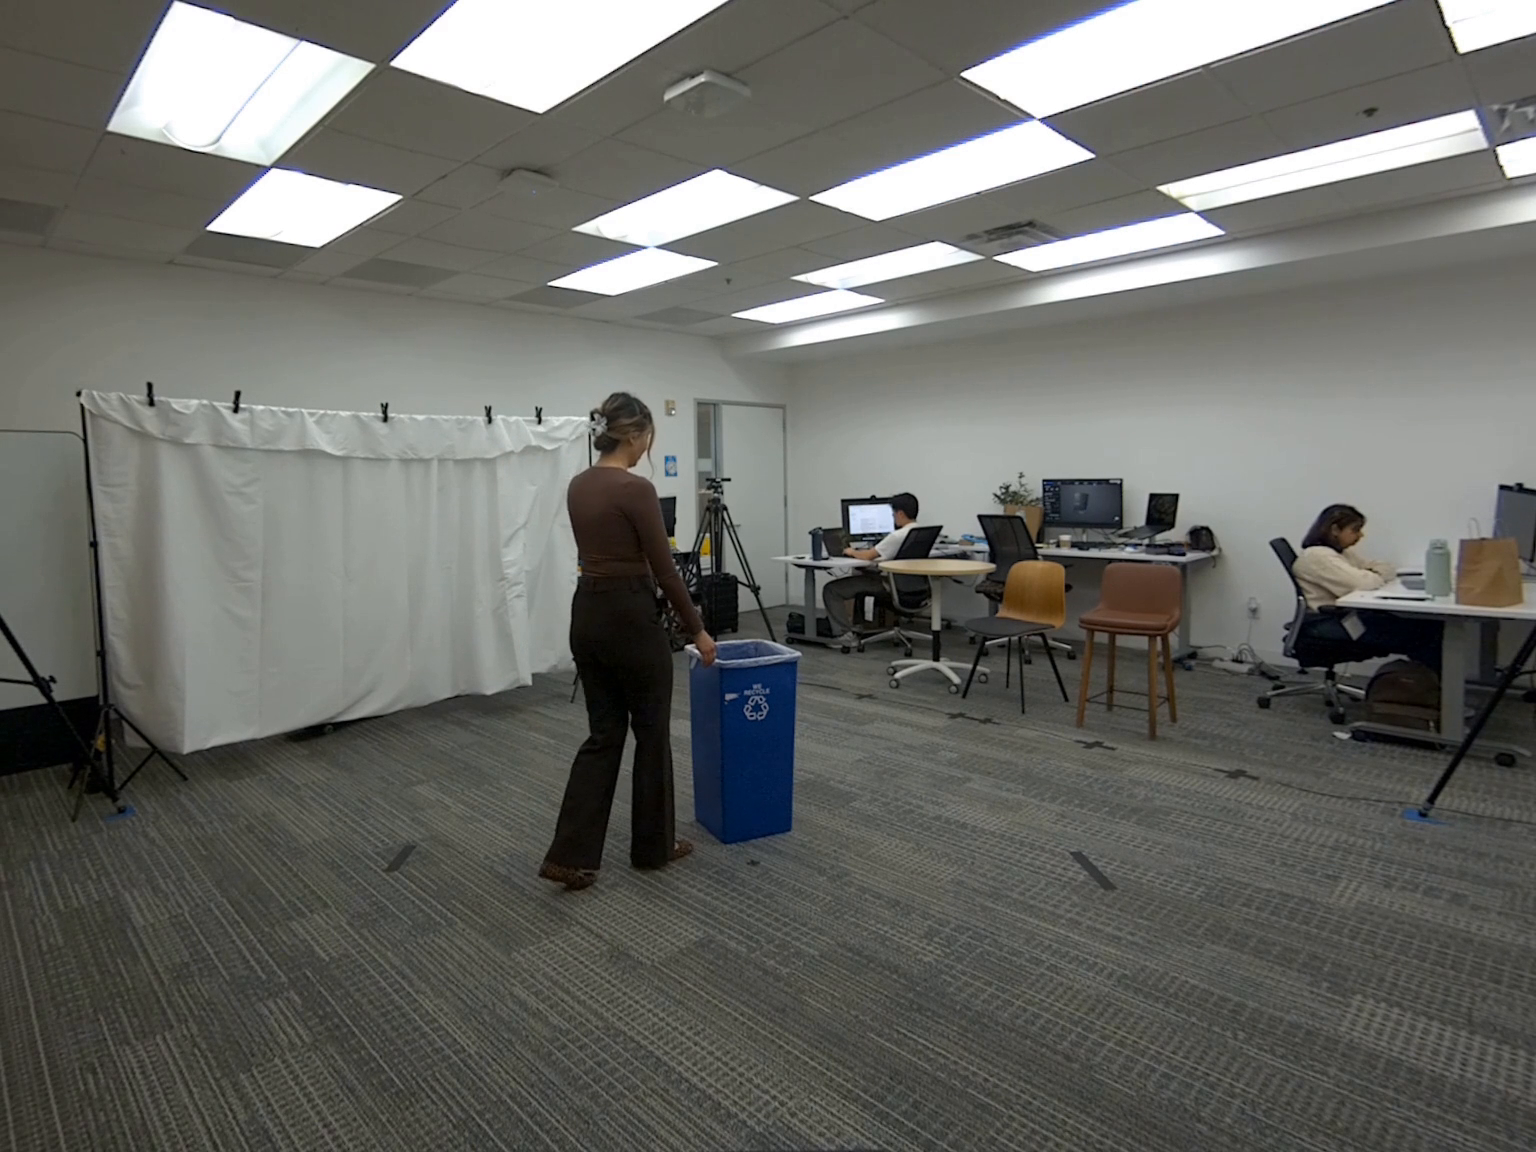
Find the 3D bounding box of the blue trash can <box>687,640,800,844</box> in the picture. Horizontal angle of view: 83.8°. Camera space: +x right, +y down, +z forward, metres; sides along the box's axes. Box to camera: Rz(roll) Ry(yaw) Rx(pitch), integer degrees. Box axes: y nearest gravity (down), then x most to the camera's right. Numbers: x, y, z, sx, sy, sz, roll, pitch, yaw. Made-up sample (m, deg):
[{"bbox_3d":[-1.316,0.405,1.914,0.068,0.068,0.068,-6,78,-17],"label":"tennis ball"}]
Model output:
[{"bbox_3d":[-0.100,0.646,3.440,0.366,0.711,0.388,-3,5,-27],"label":"blue trash can"}]
